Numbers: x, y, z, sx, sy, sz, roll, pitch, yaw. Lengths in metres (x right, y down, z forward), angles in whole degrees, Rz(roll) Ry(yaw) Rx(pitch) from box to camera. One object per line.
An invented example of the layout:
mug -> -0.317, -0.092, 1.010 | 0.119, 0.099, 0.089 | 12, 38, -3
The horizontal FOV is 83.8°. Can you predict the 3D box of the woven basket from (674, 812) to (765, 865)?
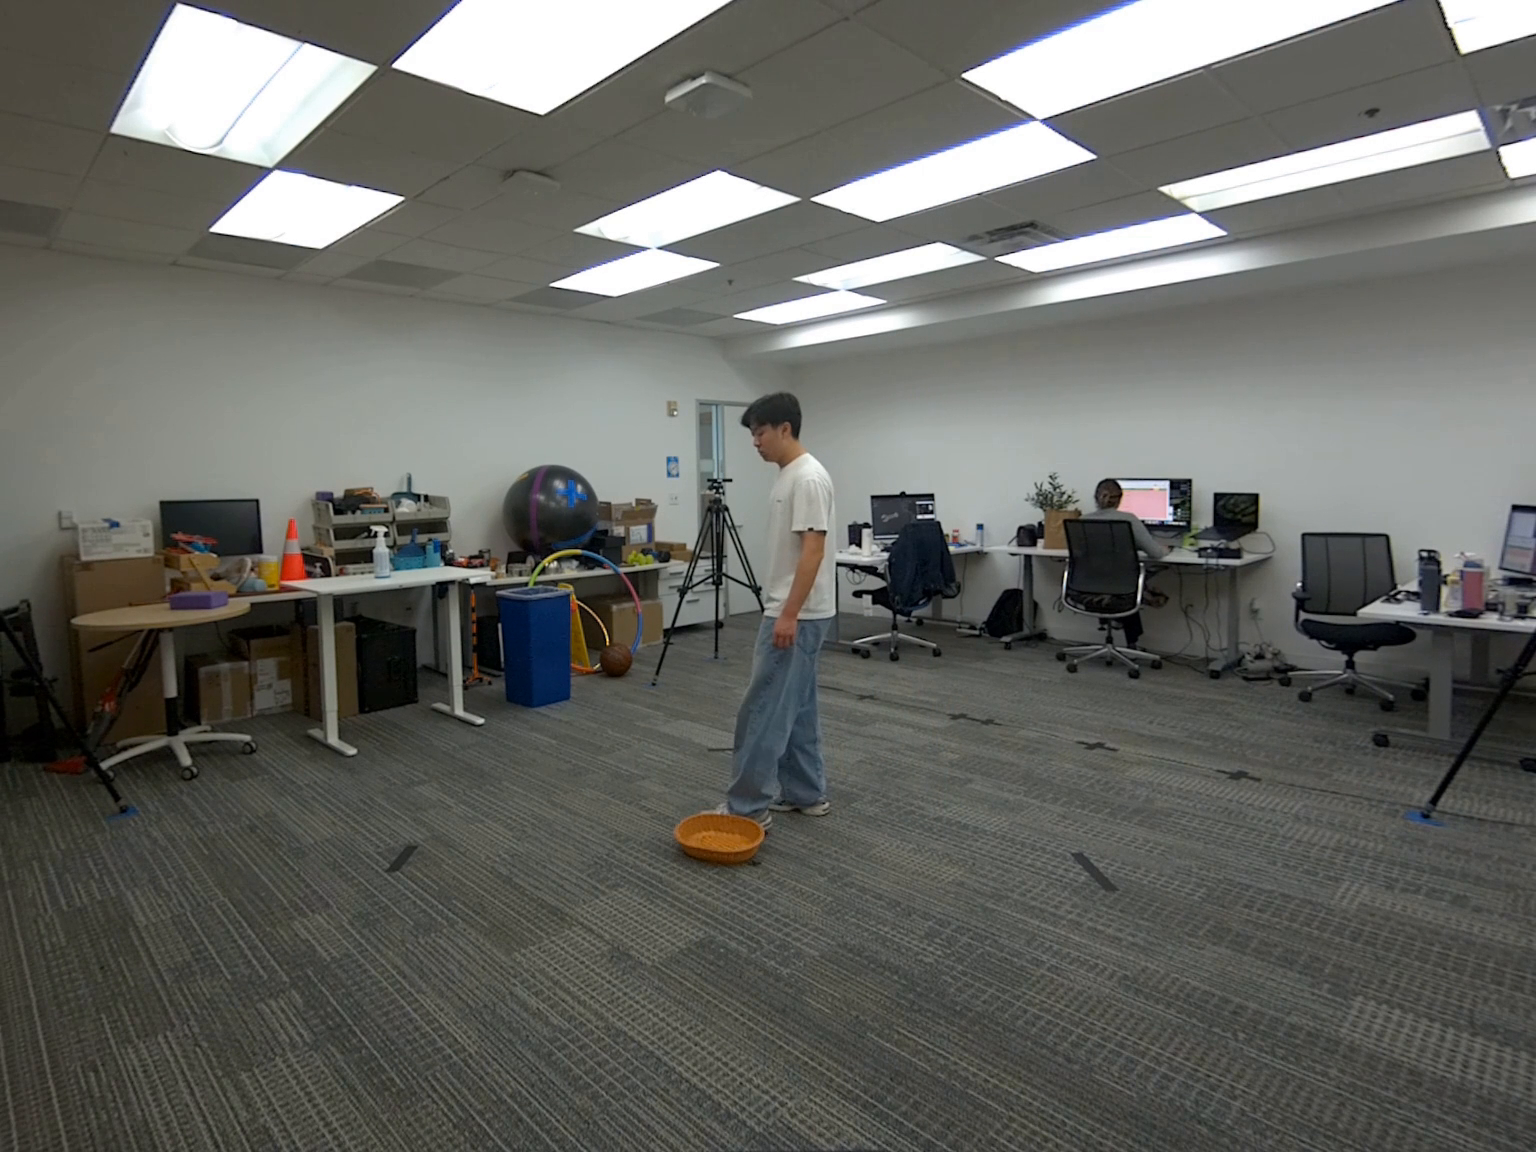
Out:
woven basket -> -0.177, 0.991, 3.208 | 0.359, 0.073, 0.248 | 3, 14, 28
